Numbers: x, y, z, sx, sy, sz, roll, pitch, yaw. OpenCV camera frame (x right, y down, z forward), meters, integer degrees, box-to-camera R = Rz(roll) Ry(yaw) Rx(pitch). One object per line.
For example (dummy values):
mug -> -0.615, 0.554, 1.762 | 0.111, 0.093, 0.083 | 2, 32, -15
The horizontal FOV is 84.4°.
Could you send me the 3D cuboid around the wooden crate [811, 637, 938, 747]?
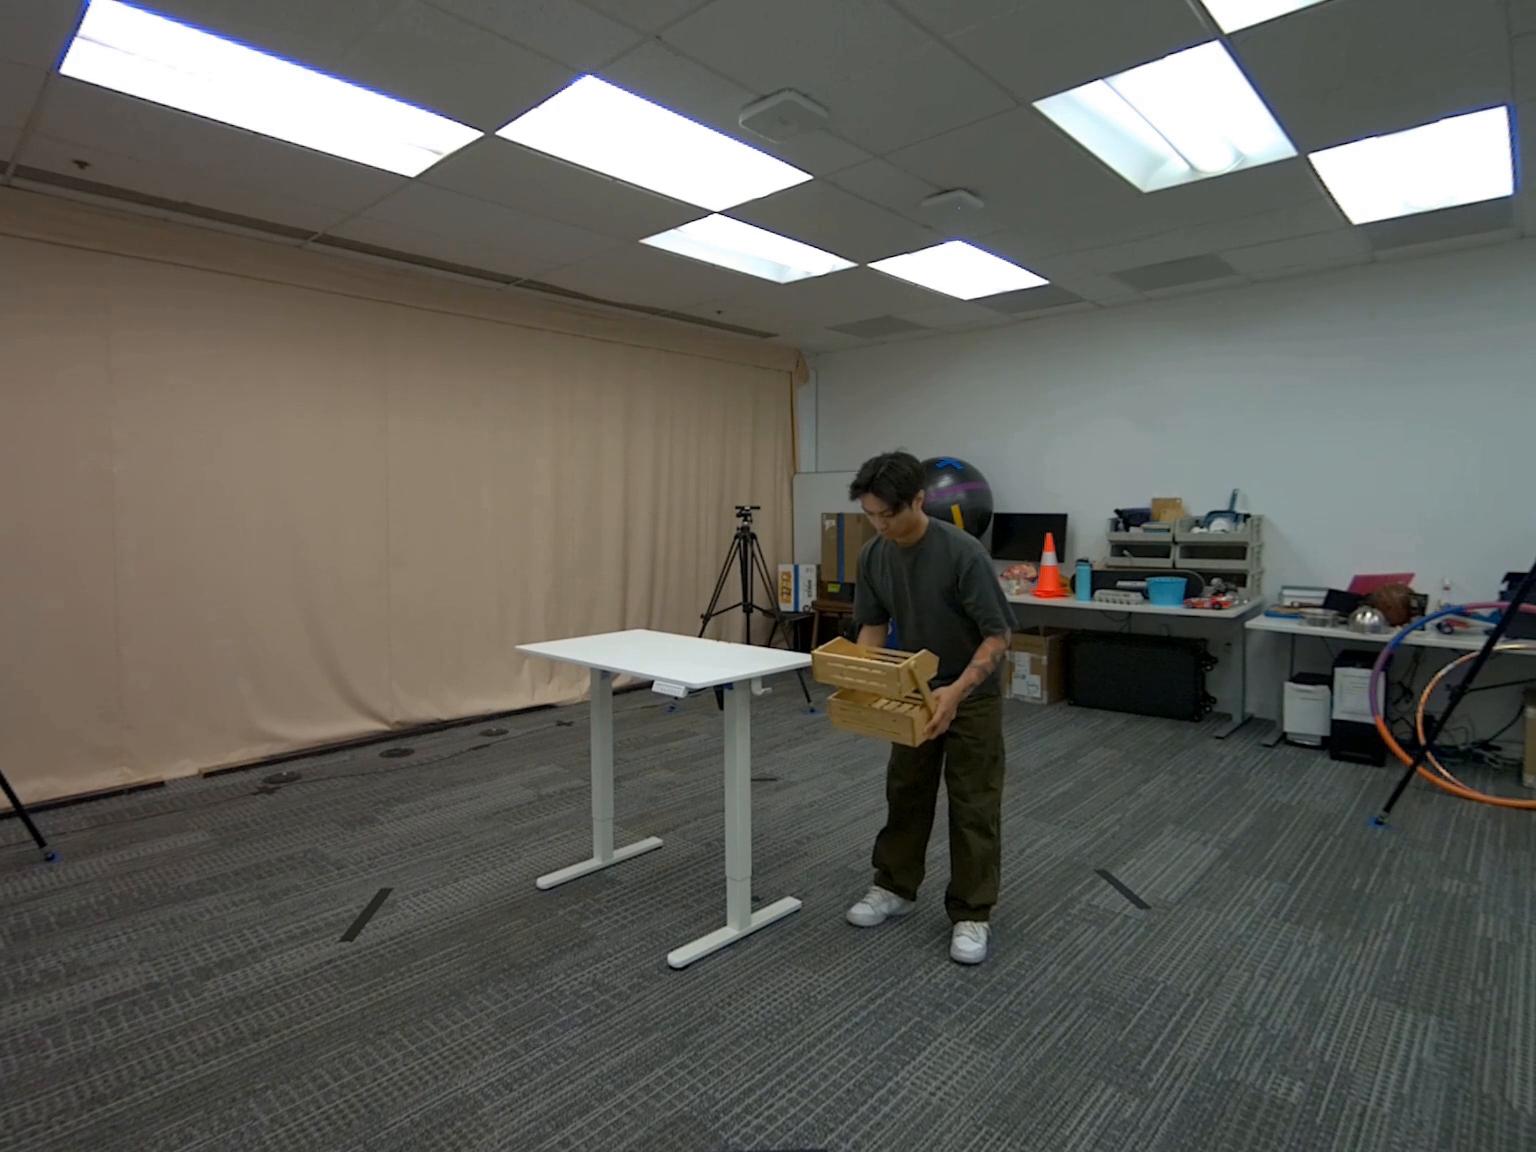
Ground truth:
wooden crate -> 0.358, 0.321, 2.528 | 0.335, 0.271, 0.295 | 5, 17, 42
